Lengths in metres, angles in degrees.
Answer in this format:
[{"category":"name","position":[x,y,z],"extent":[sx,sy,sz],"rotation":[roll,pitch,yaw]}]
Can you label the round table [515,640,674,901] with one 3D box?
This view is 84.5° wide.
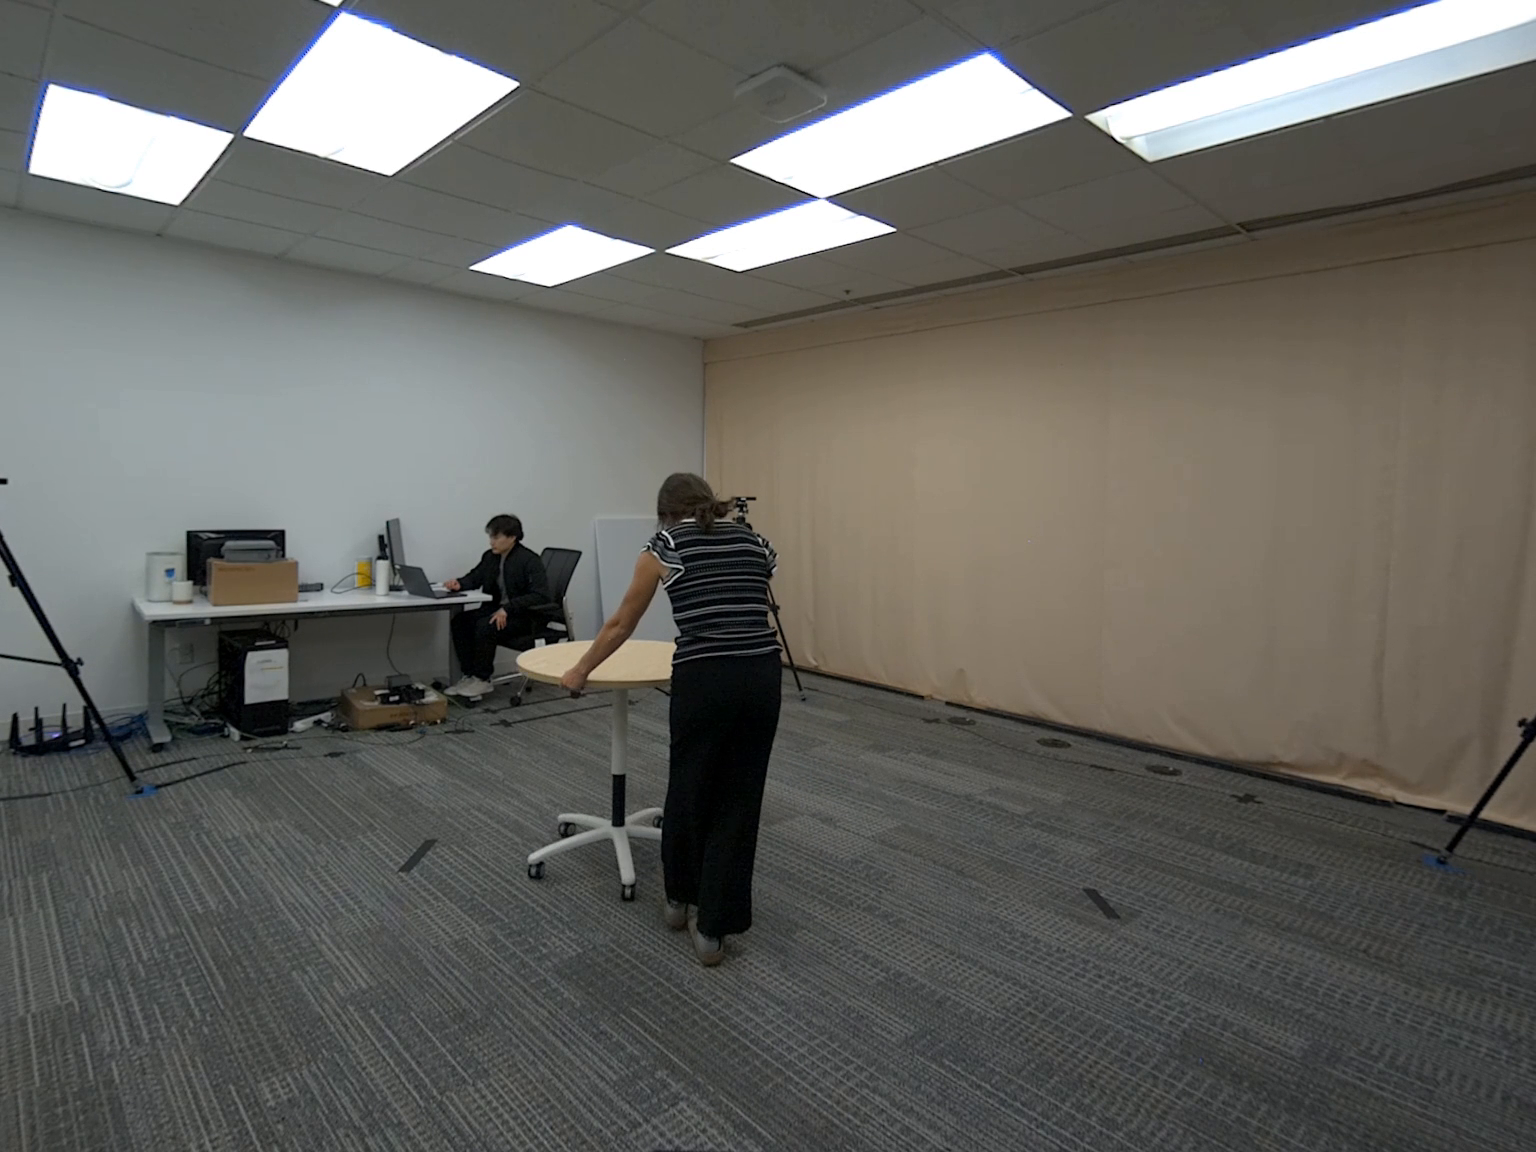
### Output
[{"category":"round table","position":[-0.565,0.701,3.194],"extent":[0.763,0.792,0.767],"rotation":[1,4,-1]}]
